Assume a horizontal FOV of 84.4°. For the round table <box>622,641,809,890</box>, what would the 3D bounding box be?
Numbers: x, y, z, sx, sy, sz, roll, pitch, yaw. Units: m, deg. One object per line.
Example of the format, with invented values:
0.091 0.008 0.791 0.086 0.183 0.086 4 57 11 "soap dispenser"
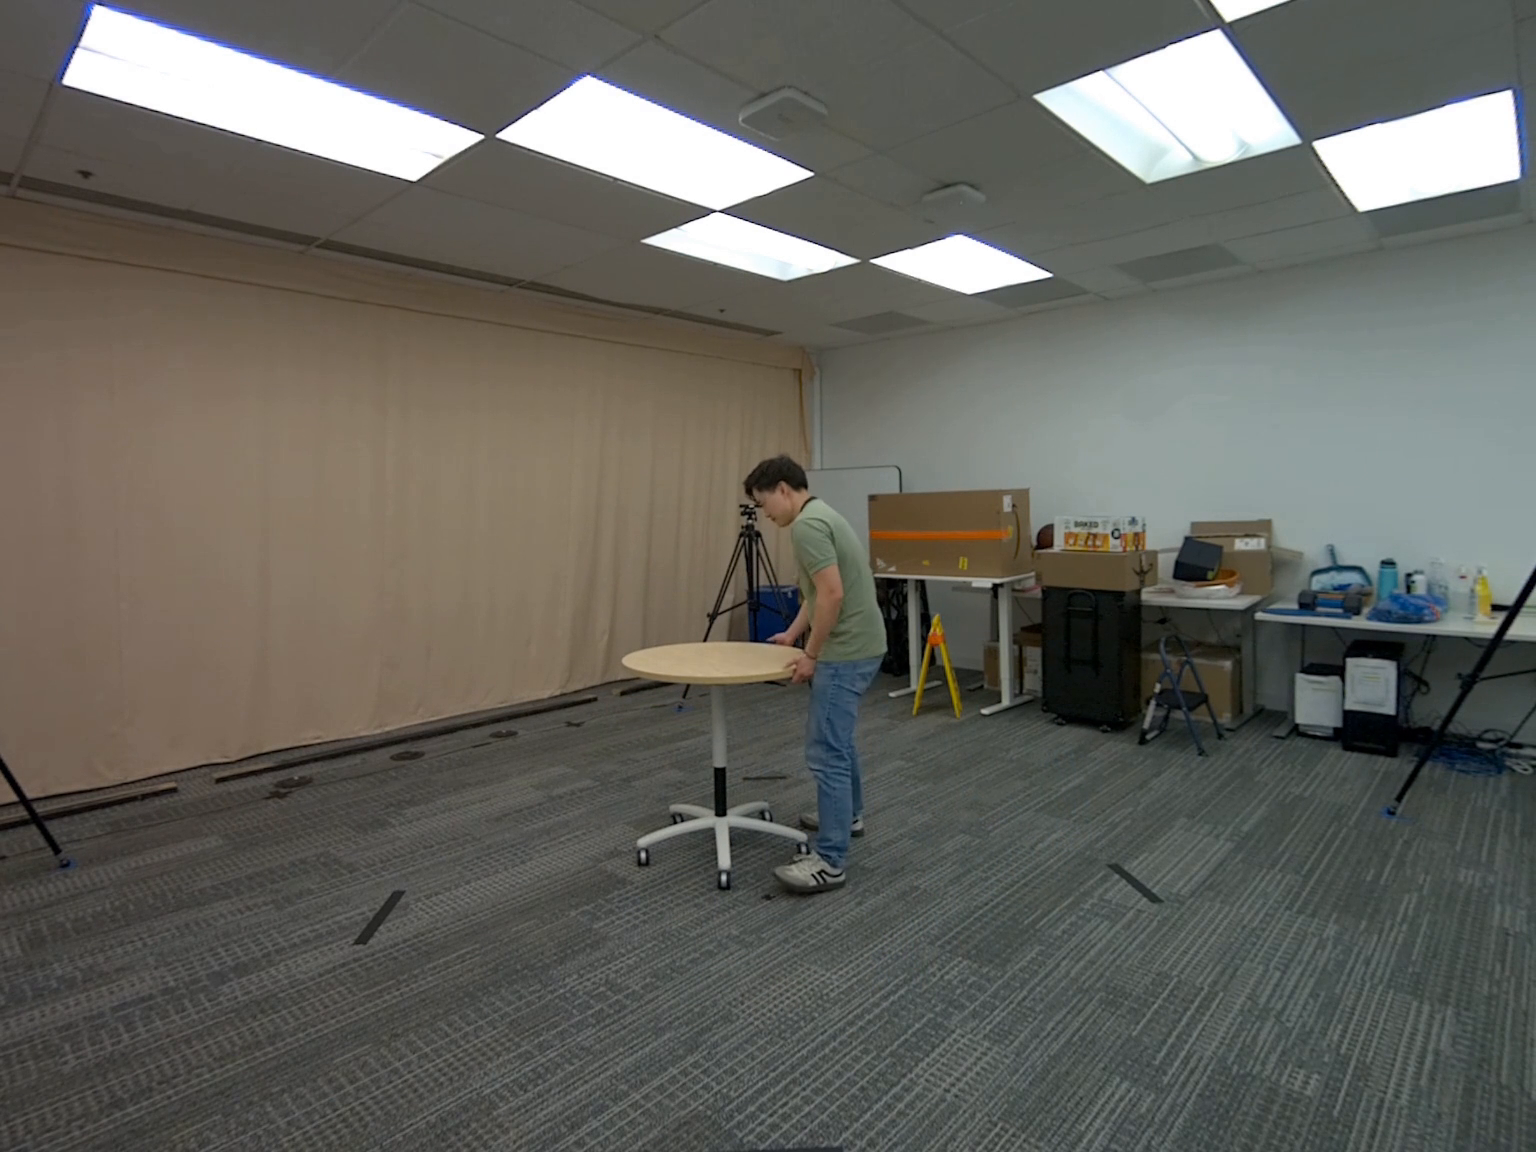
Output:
-0.200 0.722 3.391 0.763 0.792 0.766 -1 3 -2 "round table"
